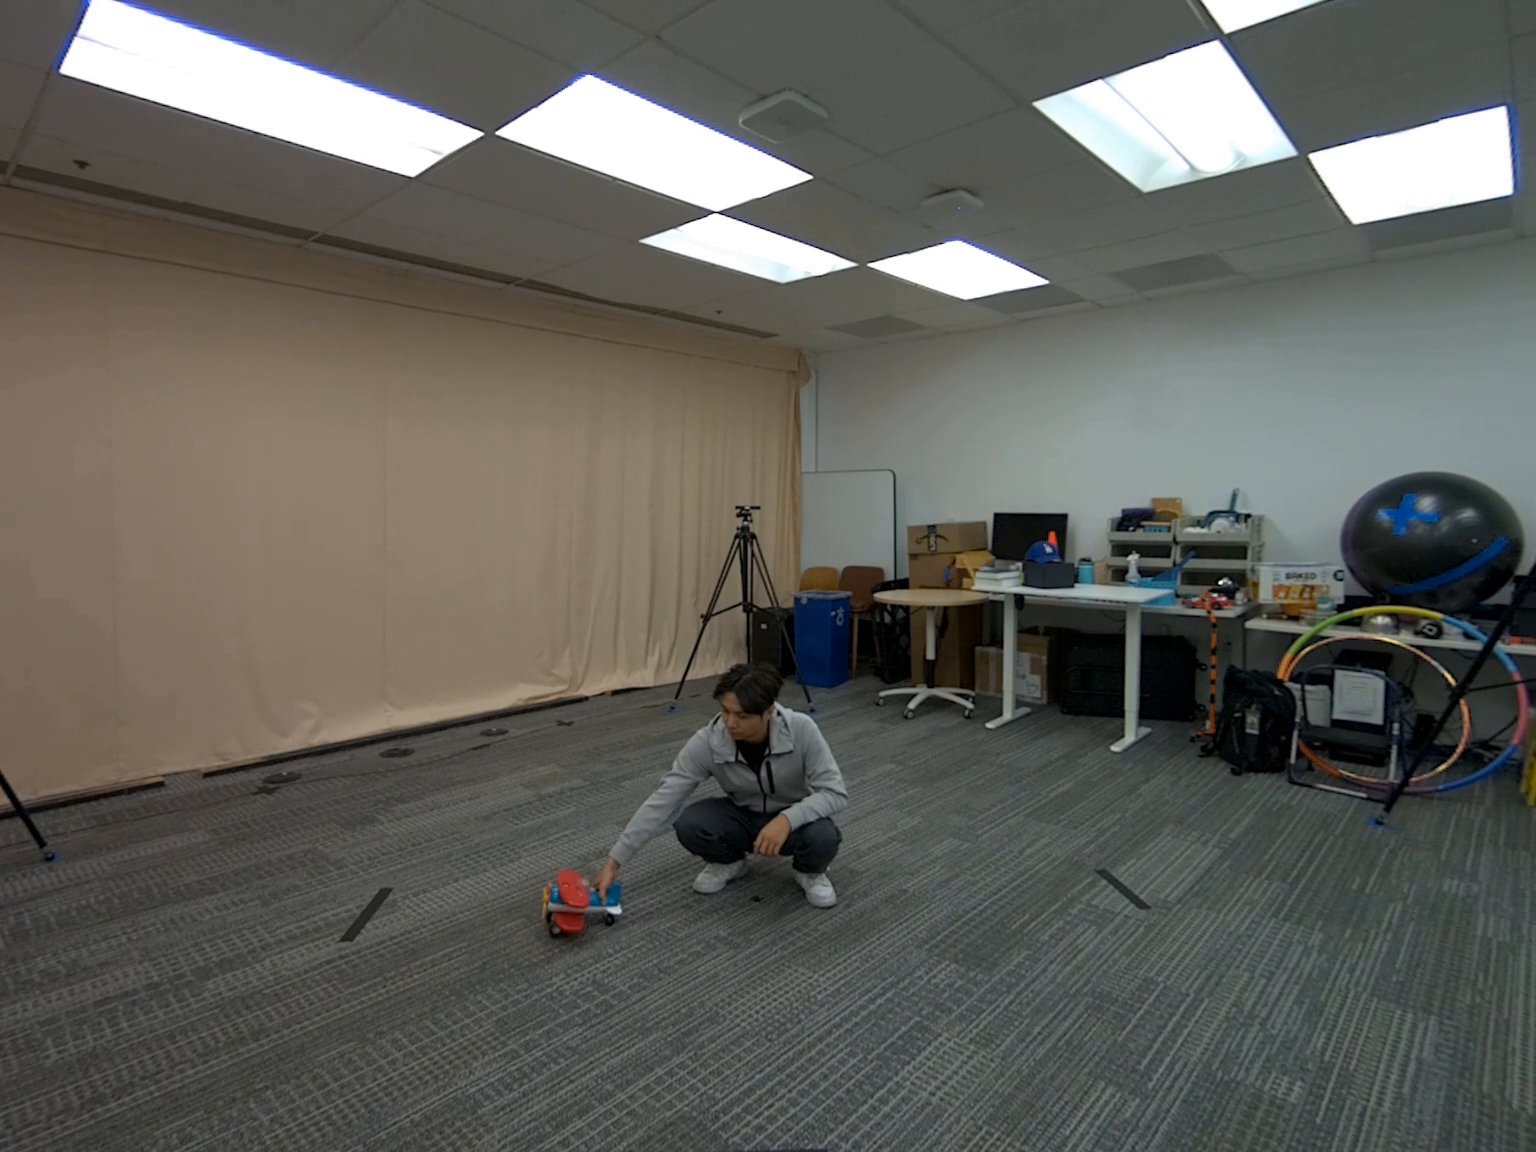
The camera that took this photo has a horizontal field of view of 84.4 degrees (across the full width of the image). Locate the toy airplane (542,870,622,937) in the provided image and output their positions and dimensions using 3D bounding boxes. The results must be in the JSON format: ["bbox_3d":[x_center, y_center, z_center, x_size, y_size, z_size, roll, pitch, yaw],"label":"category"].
[{"bbox_3d":[-0.624,1.093,2.806,0.251,0.156,0.259,-6,7,-44],"label":"toy airplane"}]
